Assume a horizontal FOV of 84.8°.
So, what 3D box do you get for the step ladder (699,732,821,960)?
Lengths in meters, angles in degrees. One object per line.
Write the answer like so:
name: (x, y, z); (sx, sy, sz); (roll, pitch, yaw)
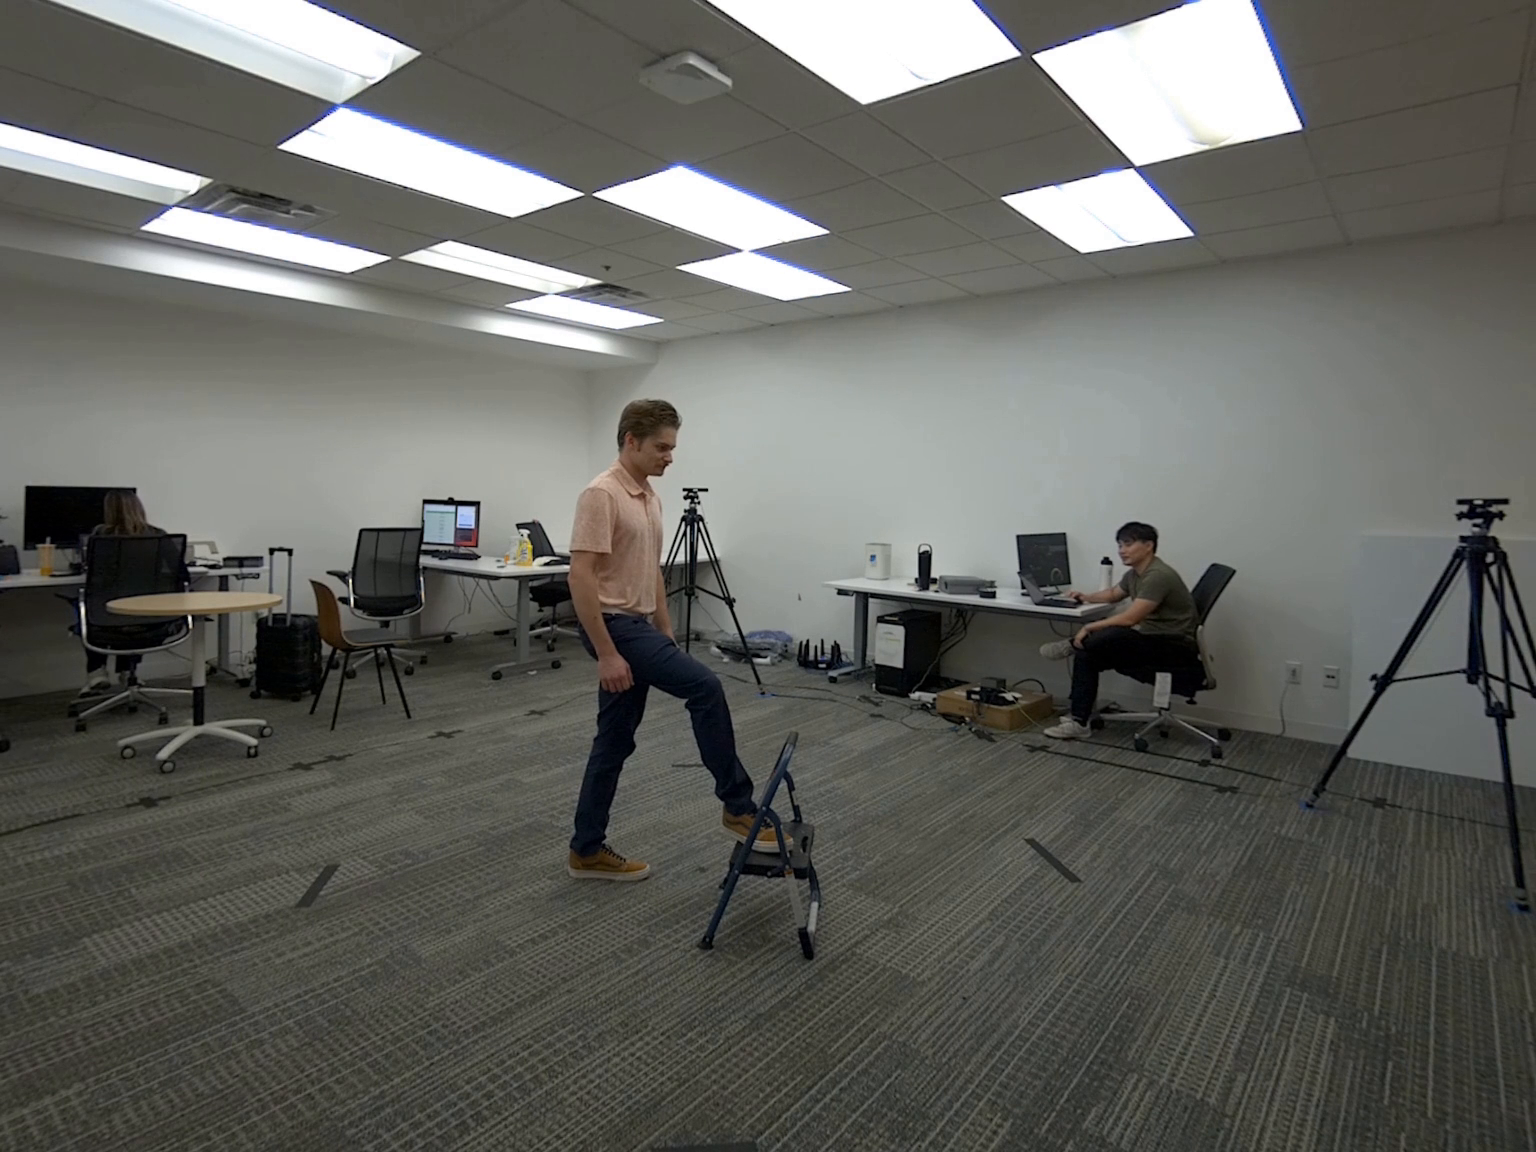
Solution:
step ladder: (-0.009, 0.809, 2.730); (0.353, 0.604, 0.428); (2, 3, 8)
